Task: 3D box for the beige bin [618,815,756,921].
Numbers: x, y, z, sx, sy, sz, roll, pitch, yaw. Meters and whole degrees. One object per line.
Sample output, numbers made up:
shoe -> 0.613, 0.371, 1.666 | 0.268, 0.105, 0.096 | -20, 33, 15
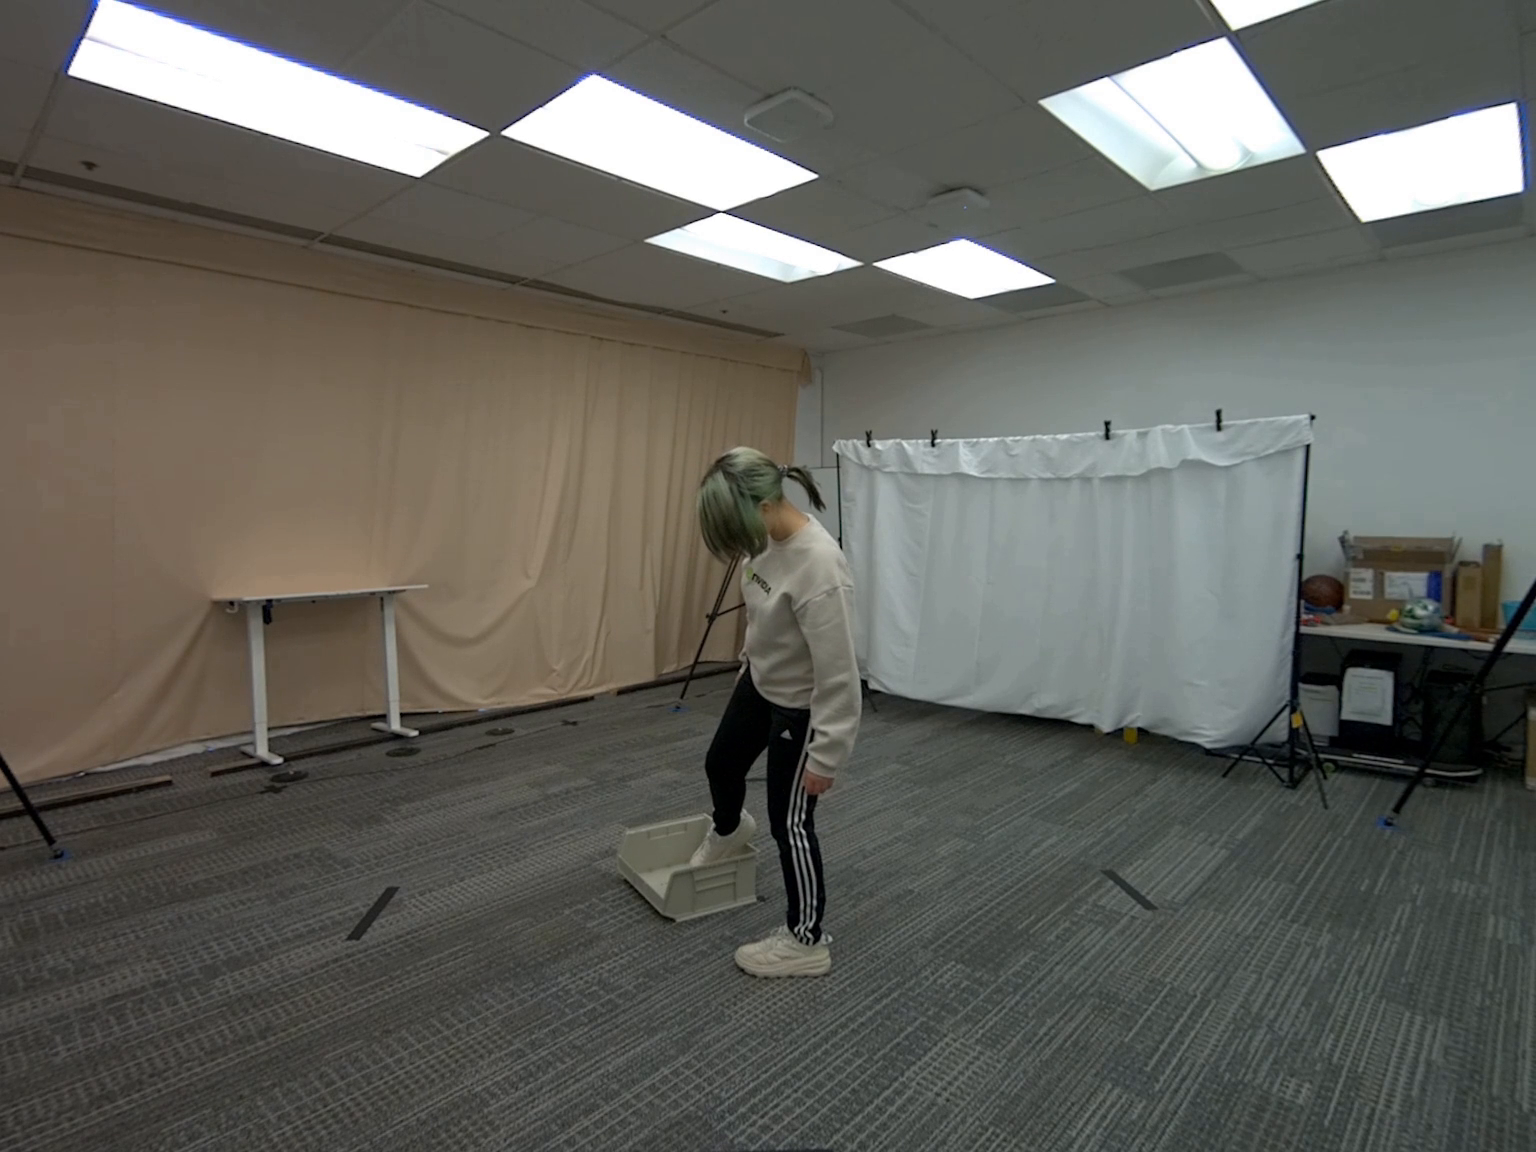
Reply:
beige bin -> -0.294, 1.048, 3.053 | 0.367, 0.188, 0.434 | -2, 4, -30
